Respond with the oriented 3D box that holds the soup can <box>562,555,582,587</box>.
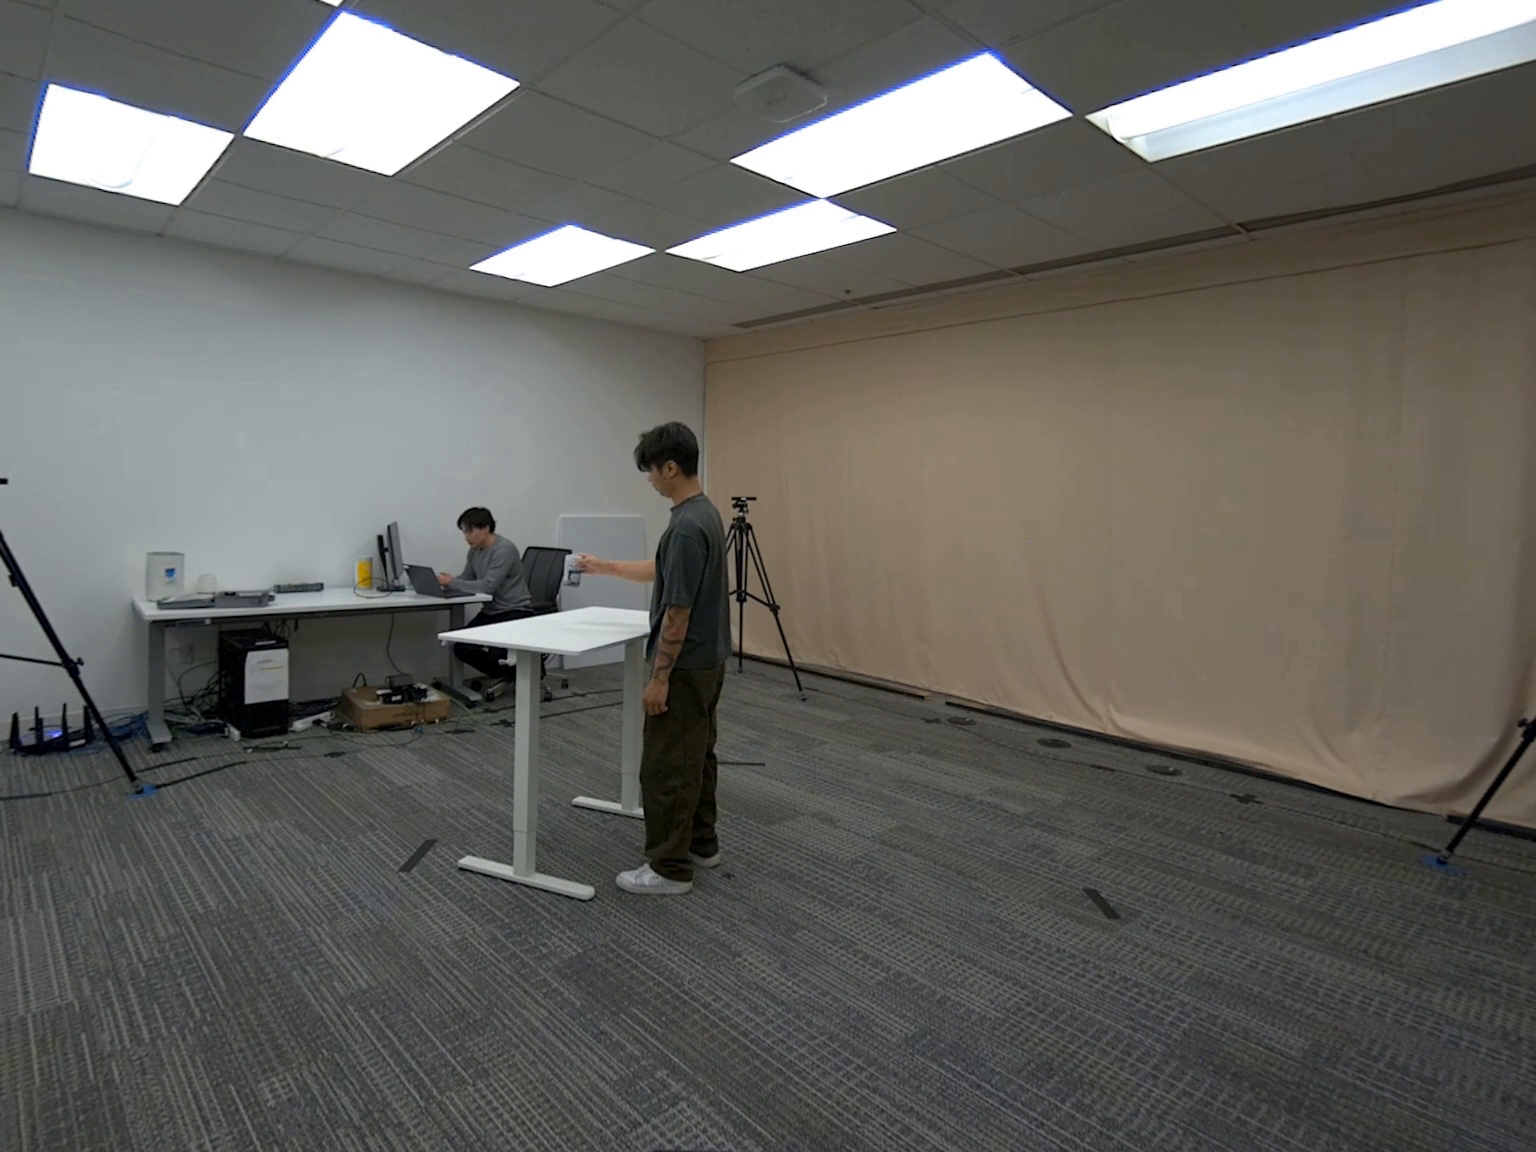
[{"bbox_3d":[-0.779,-0.017,3.342,0.067,0.121,0.067,6,9,-3],"label":"soup can"}]
